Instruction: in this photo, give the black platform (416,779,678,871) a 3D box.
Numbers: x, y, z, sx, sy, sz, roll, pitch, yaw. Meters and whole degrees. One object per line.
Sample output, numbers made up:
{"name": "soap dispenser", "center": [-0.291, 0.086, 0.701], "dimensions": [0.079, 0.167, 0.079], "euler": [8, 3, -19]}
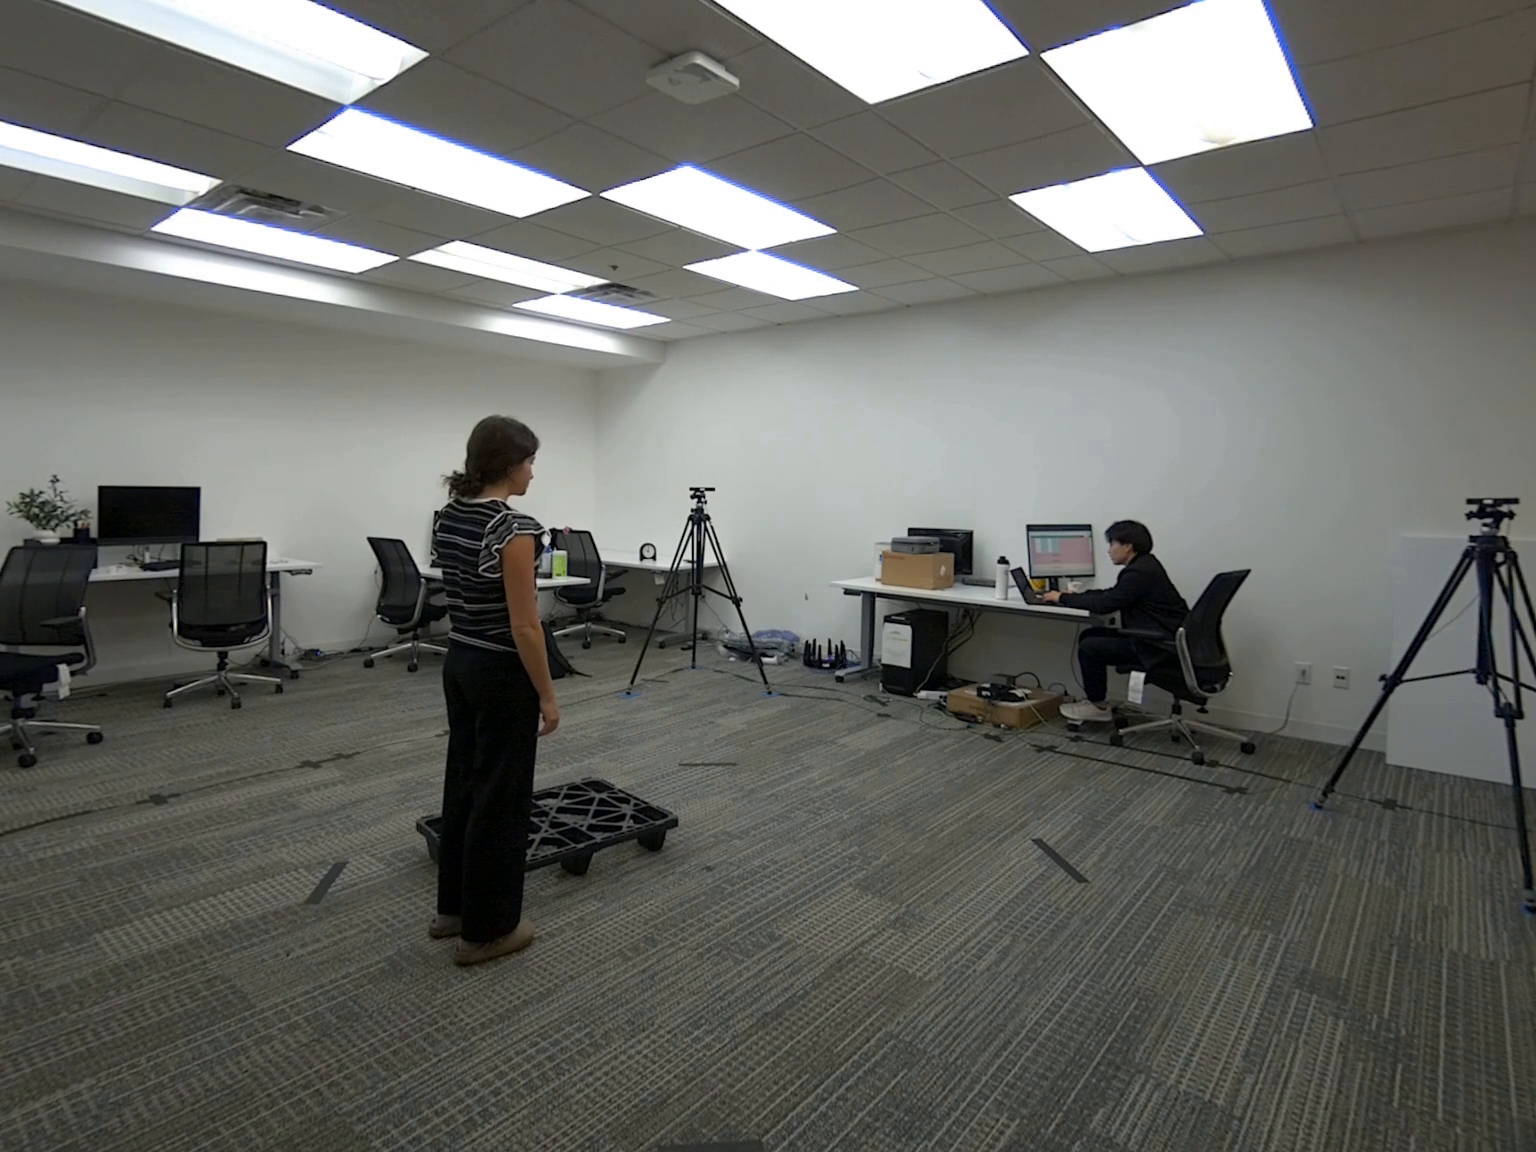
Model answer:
{"name": "black platform", "center": [-0.845, 0.979, 3.217], "dimensions": [0.781, 0.143, 0.625], "euler": [-4, 6, -42]}
